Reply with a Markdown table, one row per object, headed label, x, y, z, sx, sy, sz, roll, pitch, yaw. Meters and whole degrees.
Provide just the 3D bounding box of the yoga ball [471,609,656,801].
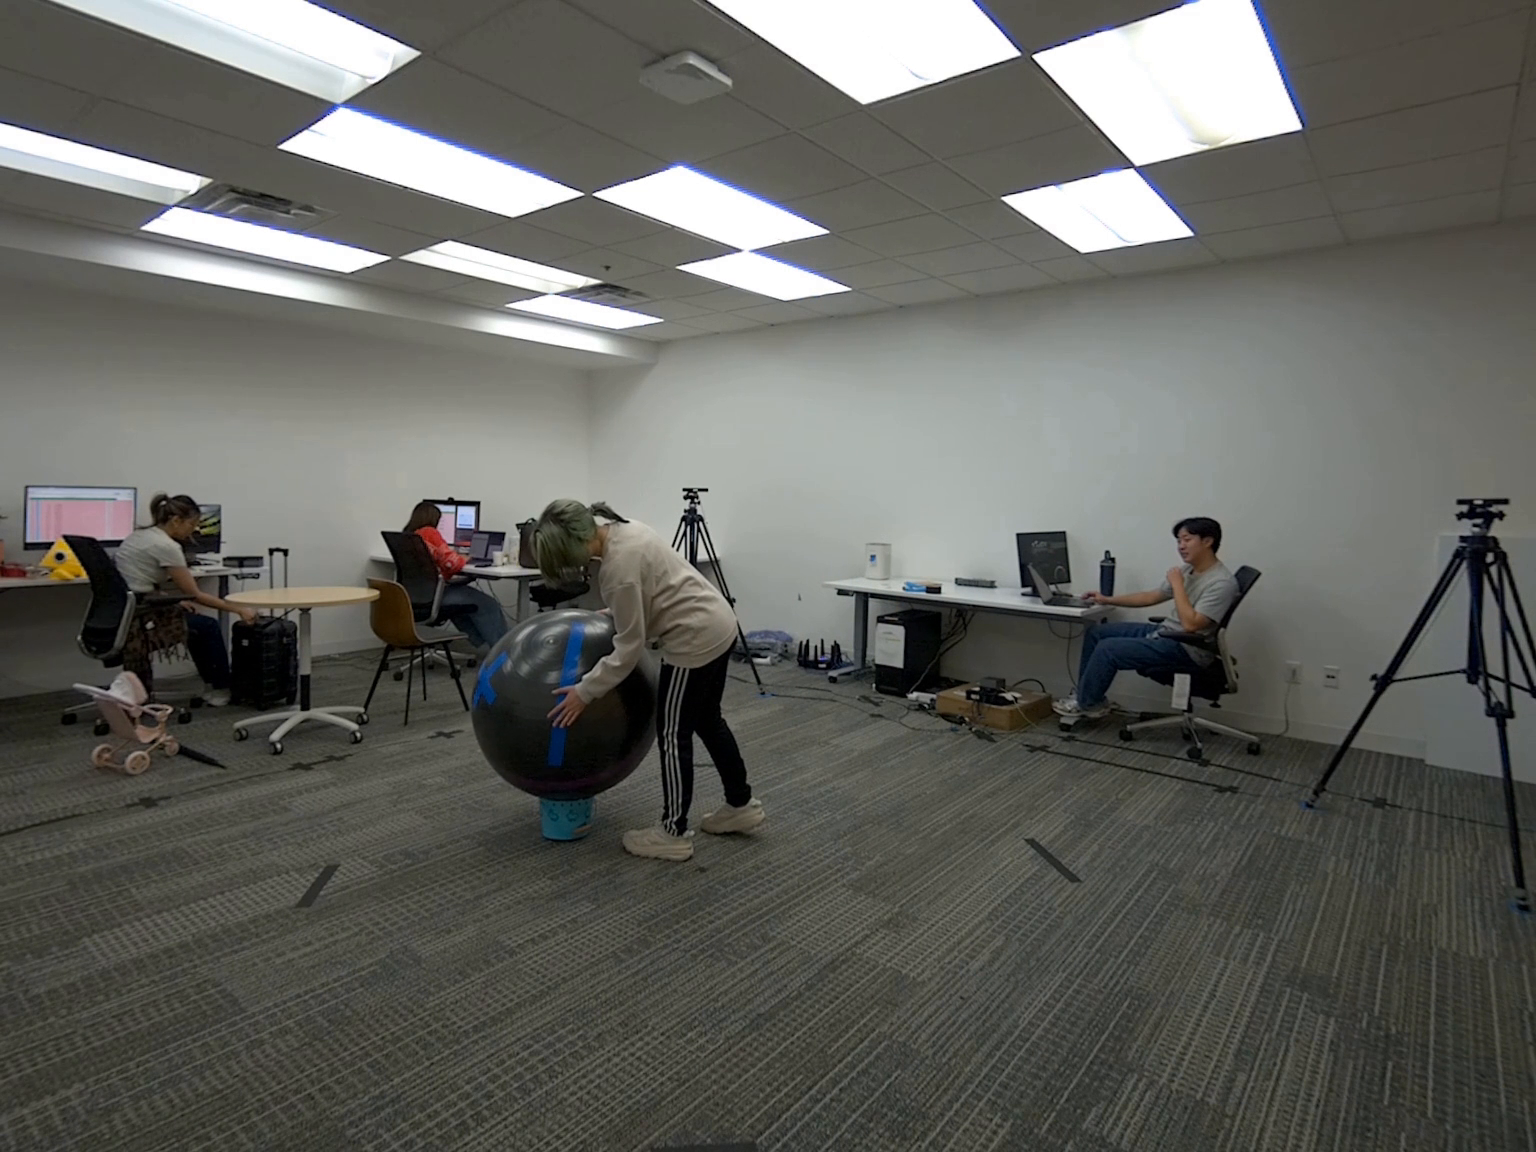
| label | x | y | z | sx | sy | sz | roll | pitch | yaw |
| --- | --- | --- | --- | --- | --- | --- | --- | --- | --- |
| yoga ball | -0.826 | 0.513 | 3.440 | 0.757 | 0.755 | 0.762 | 1 | 4 | -2 |
